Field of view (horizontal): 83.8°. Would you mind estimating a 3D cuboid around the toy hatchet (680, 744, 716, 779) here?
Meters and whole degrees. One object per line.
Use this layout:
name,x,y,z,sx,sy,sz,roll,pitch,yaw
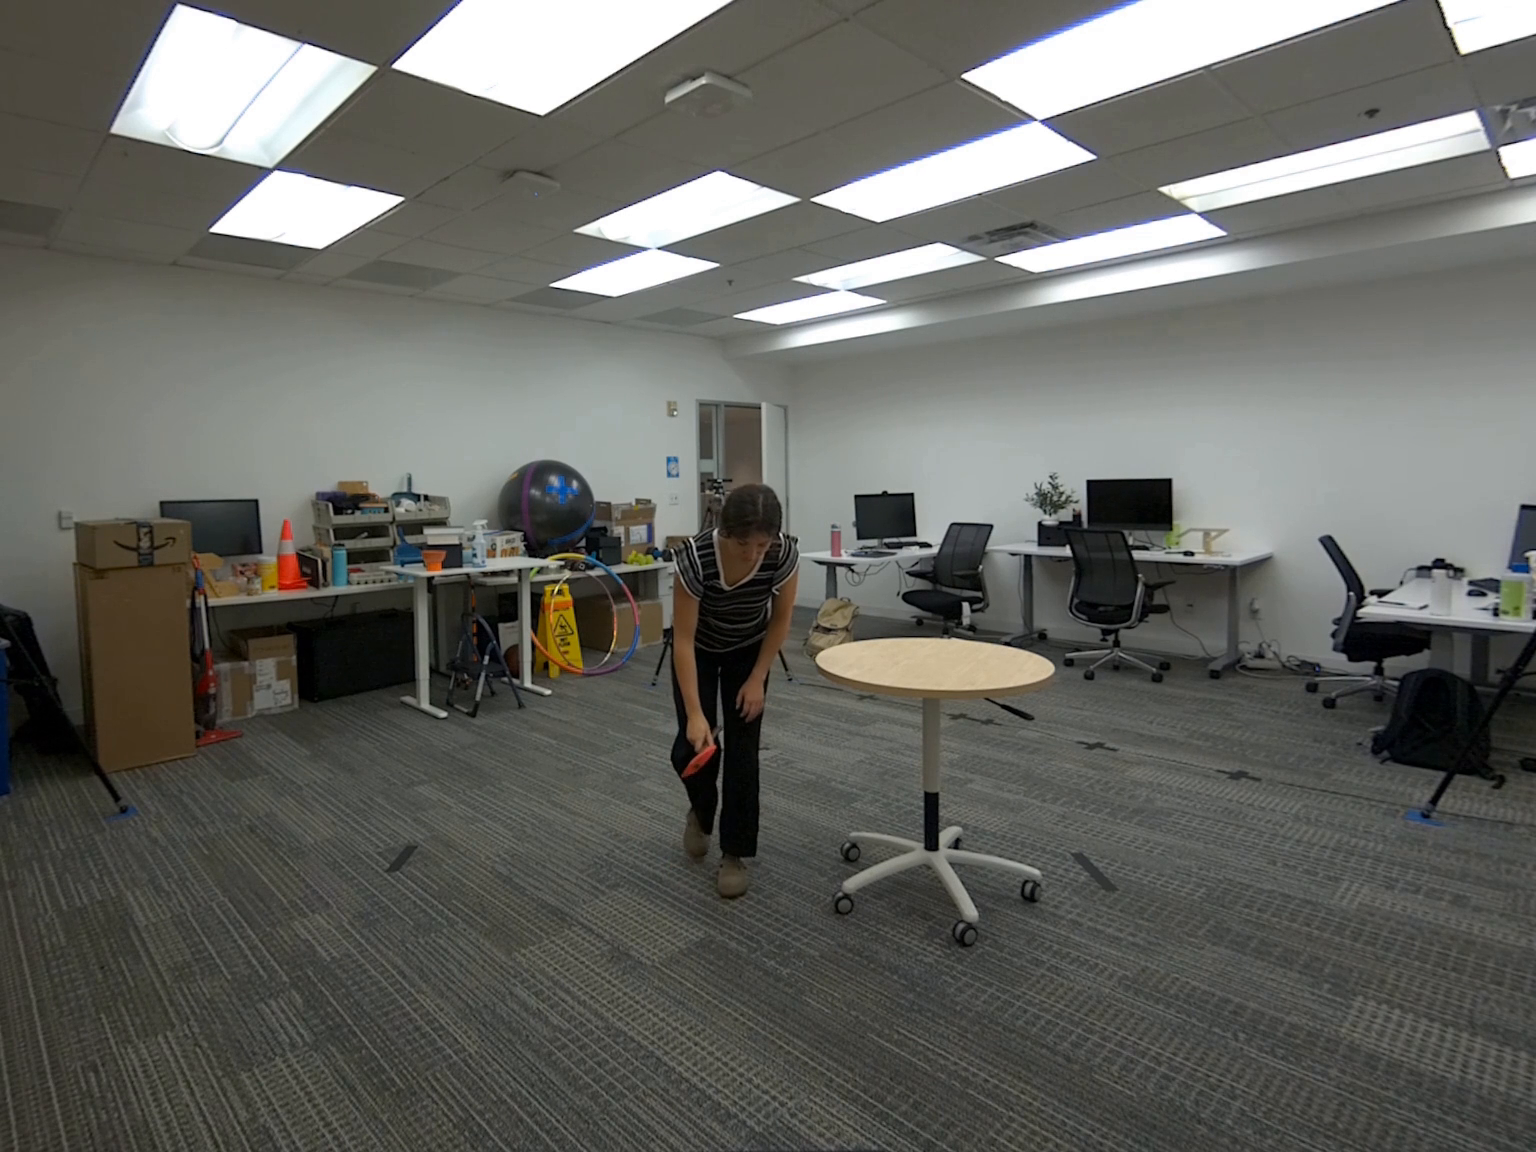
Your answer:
toy hatchet,-0.175,0.520,2.599,0.131,0.029,0.270,-42,6,28
